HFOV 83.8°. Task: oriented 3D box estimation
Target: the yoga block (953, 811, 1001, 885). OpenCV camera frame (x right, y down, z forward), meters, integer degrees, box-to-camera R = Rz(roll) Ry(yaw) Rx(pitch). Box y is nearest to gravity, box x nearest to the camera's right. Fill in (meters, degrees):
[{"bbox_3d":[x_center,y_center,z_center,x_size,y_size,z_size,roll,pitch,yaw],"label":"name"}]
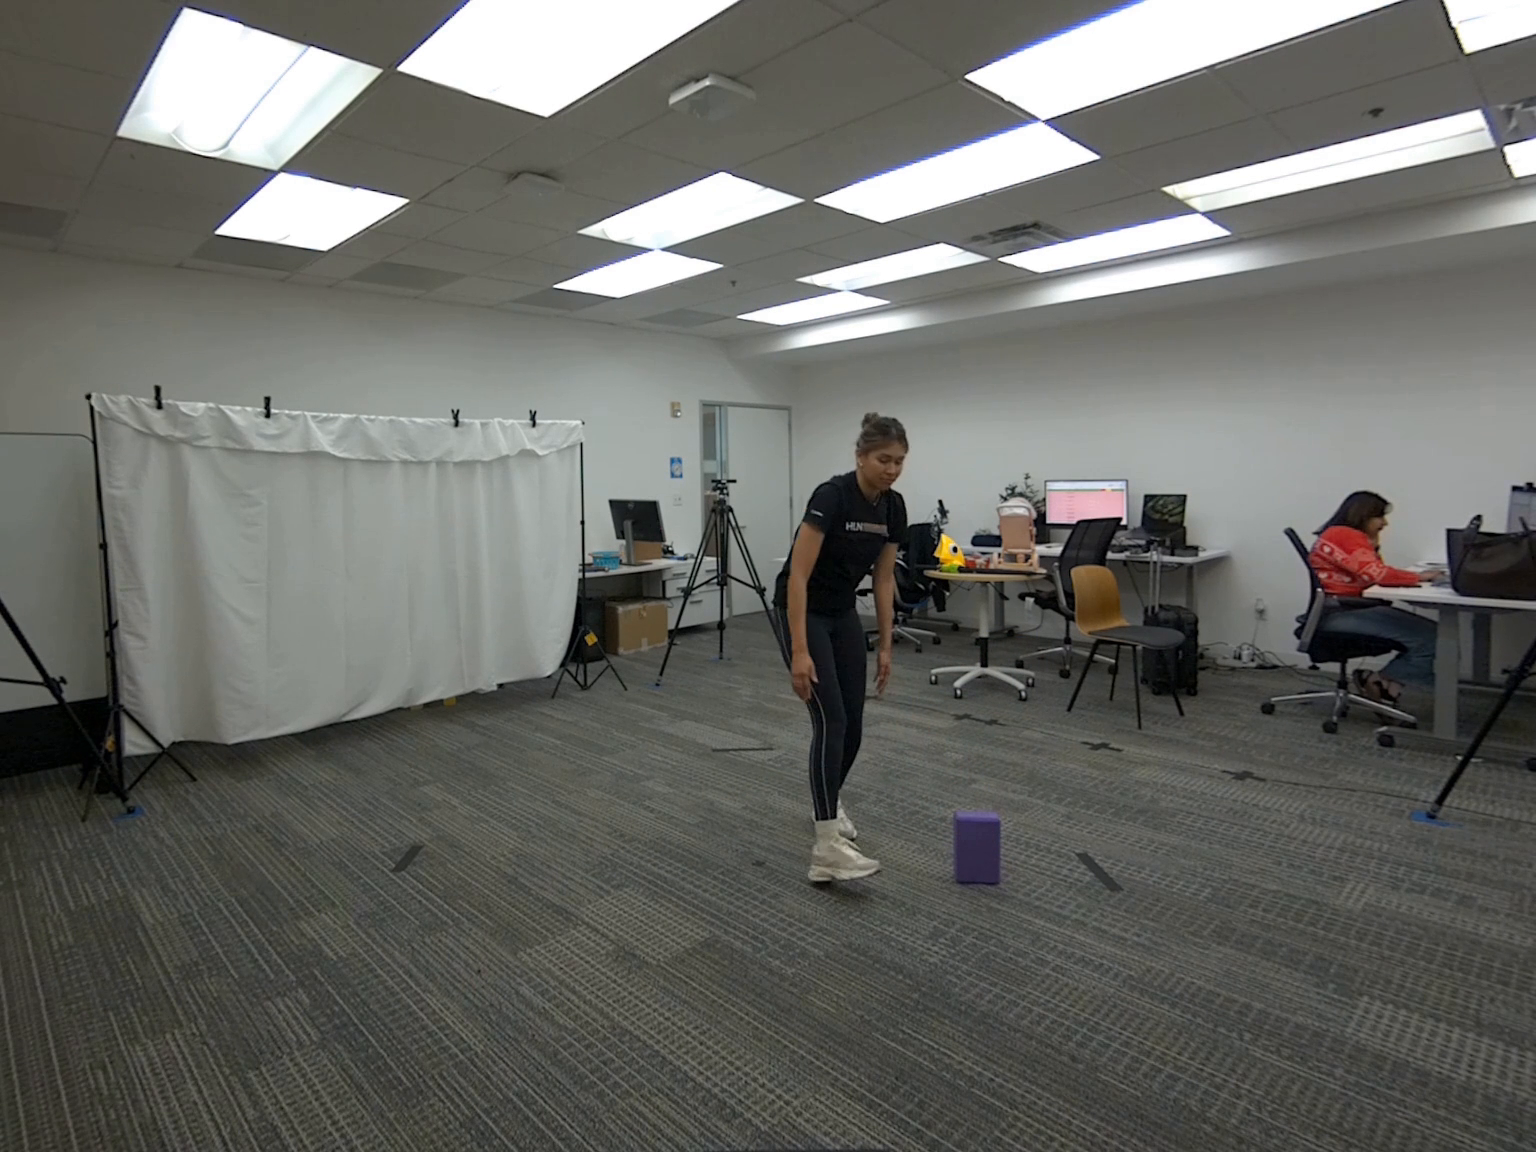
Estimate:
[{"bbox_3d":[0.724,0.937,2.944,0.150,0.229,0.076,0,2,7],"label":"yoga block"}]
